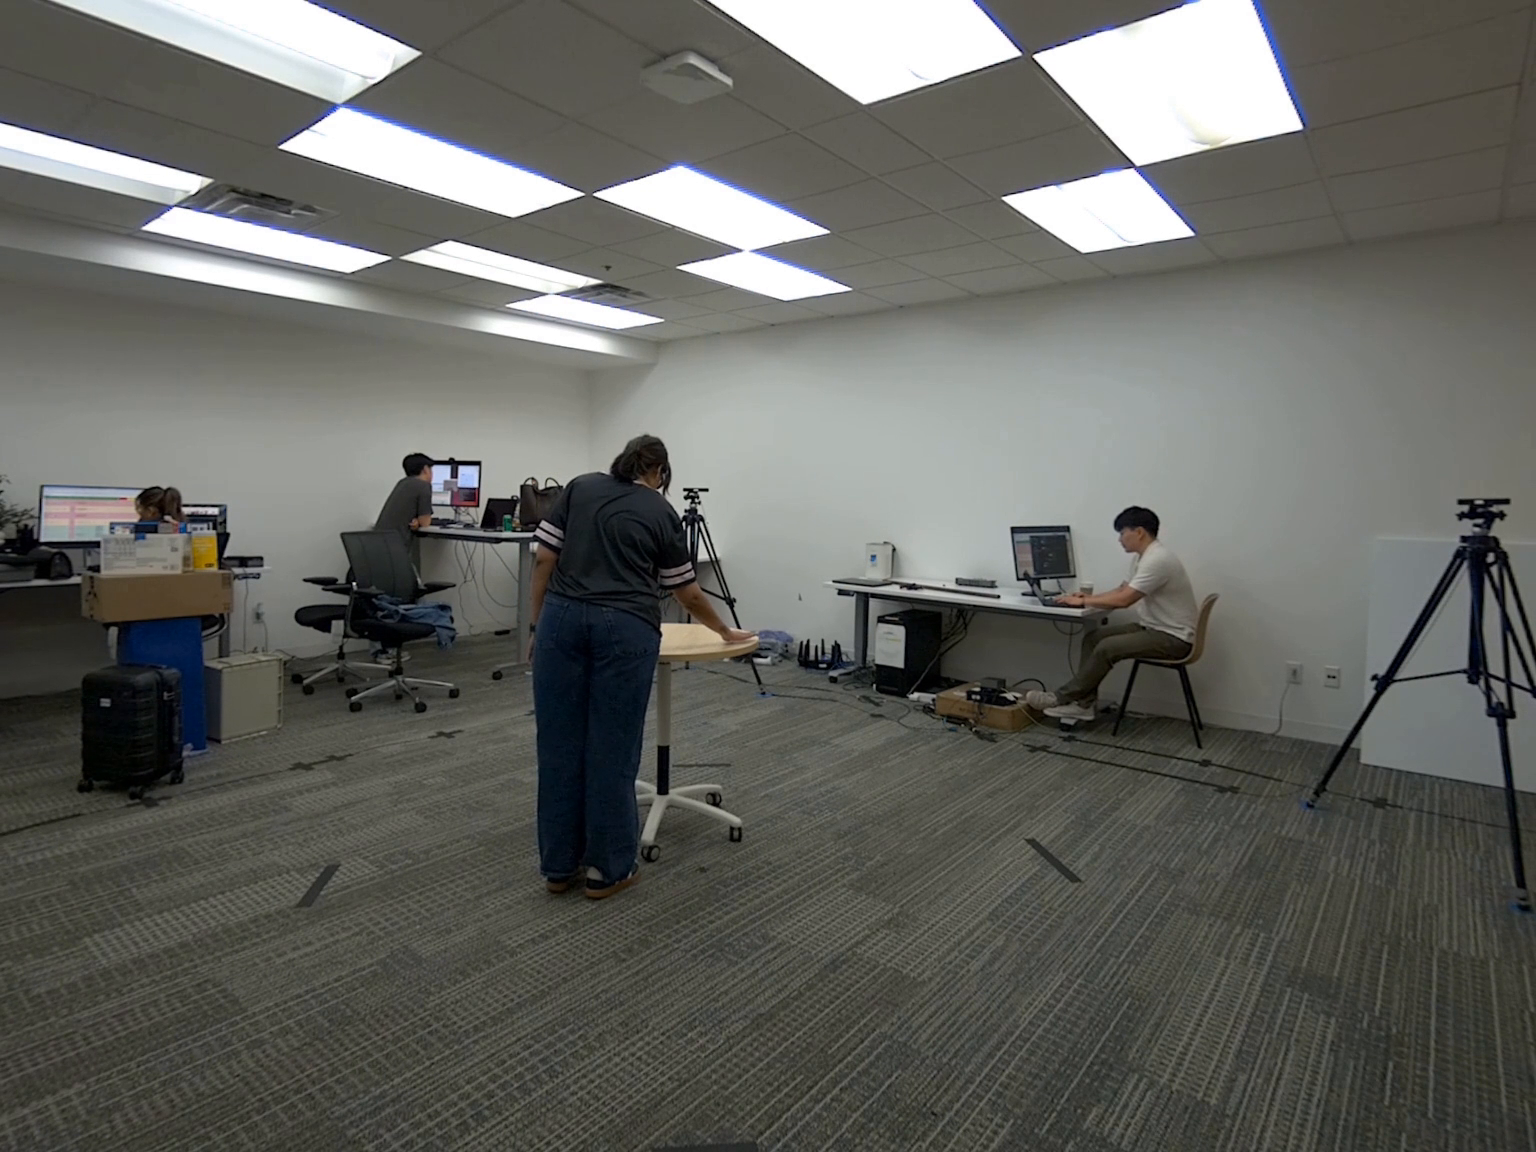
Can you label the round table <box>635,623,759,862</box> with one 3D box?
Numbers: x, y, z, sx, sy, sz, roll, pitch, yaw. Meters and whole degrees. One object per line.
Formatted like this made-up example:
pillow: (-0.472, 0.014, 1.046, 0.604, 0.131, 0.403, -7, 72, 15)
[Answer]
round table: (-0.446, 0.638, 3.484, 0.784, 0.784, 0.789, 1, 4, -2)
